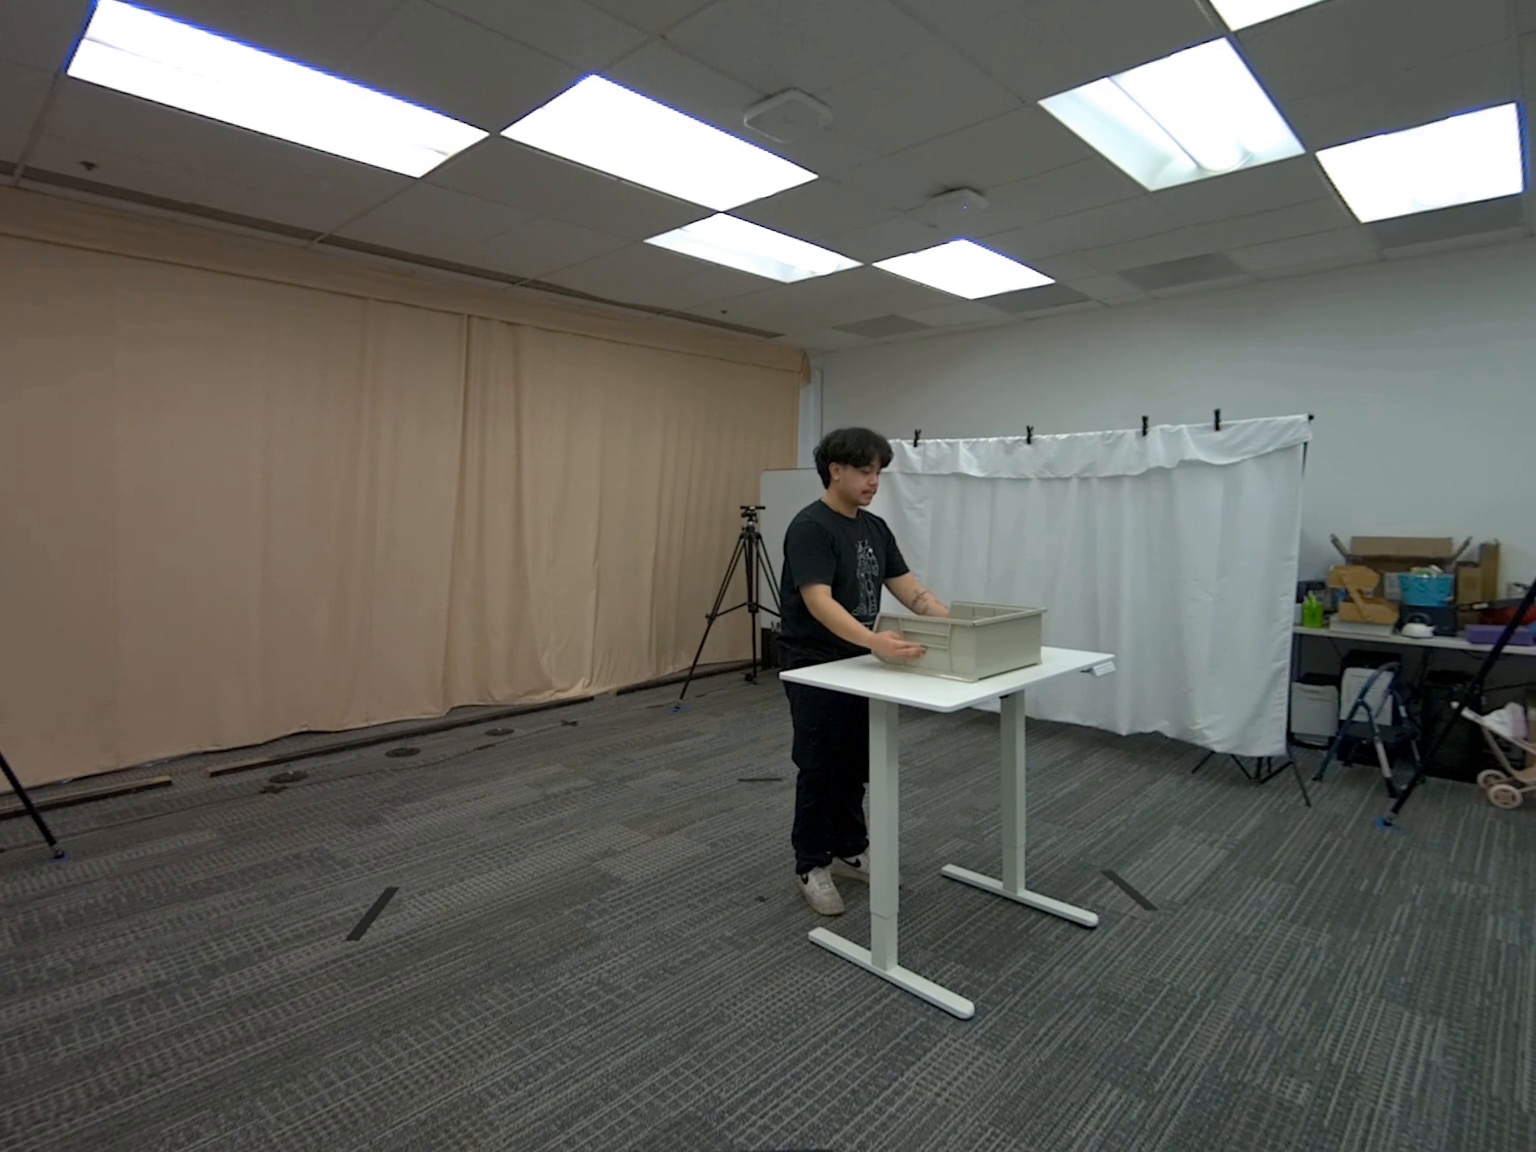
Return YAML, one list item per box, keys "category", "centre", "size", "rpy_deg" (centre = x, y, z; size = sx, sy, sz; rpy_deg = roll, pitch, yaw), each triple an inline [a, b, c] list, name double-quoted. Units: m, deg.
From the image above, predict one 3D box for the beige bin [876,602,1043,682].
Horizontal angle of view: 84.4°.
- category: "beige bin"
  centre: [0.598, 0.201, 2.676]
  size: [0.409, 0.188, 0.390]
  rpy_deg: [-4, 6, -41]
